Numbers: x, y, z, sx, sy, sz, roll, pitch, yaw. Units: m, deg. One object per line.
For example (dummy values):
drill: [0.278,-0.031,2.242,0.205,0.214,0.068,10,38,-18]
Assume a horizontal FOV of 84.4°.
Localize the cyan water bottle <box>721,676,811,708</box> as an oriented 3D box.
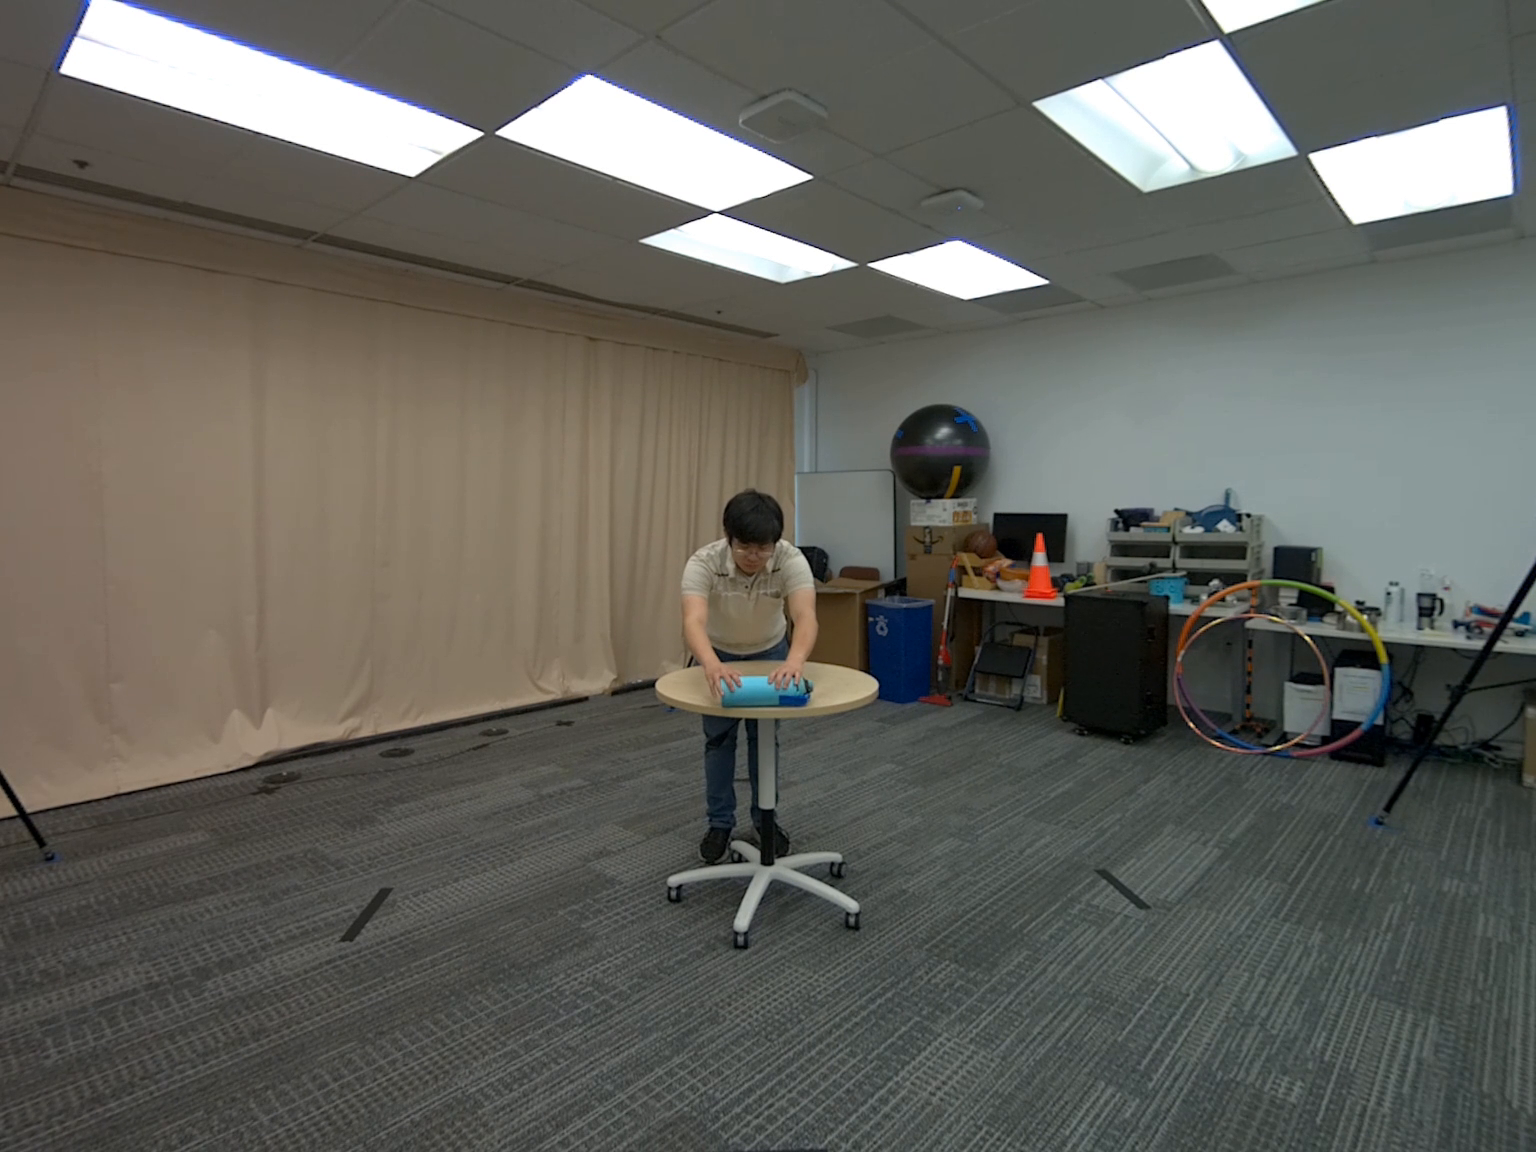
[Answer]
cyan water bottle: [-0.008,0.345,2.585,0.284,0.092,0.092,2,4,2]
